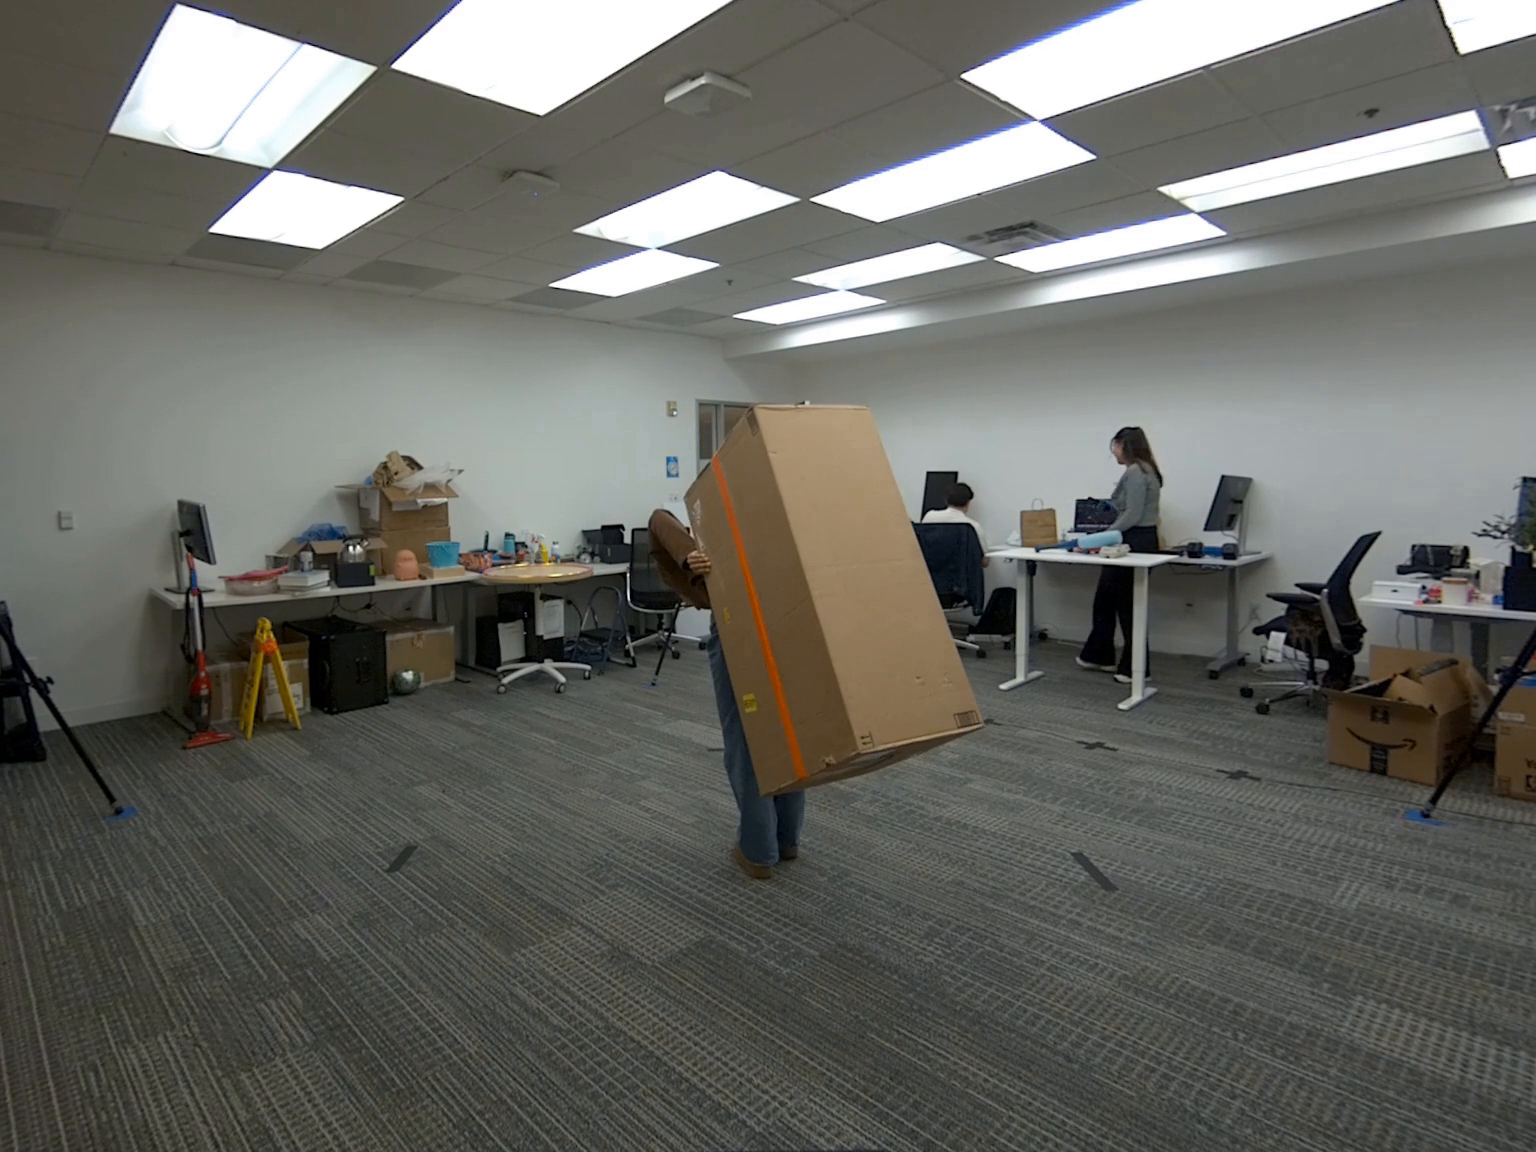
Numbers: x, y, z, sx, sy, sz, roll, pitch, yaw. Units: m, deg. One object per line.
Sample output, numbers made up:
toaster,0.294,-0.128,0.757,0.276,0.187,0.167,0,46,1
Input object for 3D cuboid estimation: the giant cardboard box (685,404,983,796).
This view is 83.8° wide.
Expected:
giant cardboard box,0.150,0.072,2.613,0.436,1.051,0.584,-3,-24,-30
